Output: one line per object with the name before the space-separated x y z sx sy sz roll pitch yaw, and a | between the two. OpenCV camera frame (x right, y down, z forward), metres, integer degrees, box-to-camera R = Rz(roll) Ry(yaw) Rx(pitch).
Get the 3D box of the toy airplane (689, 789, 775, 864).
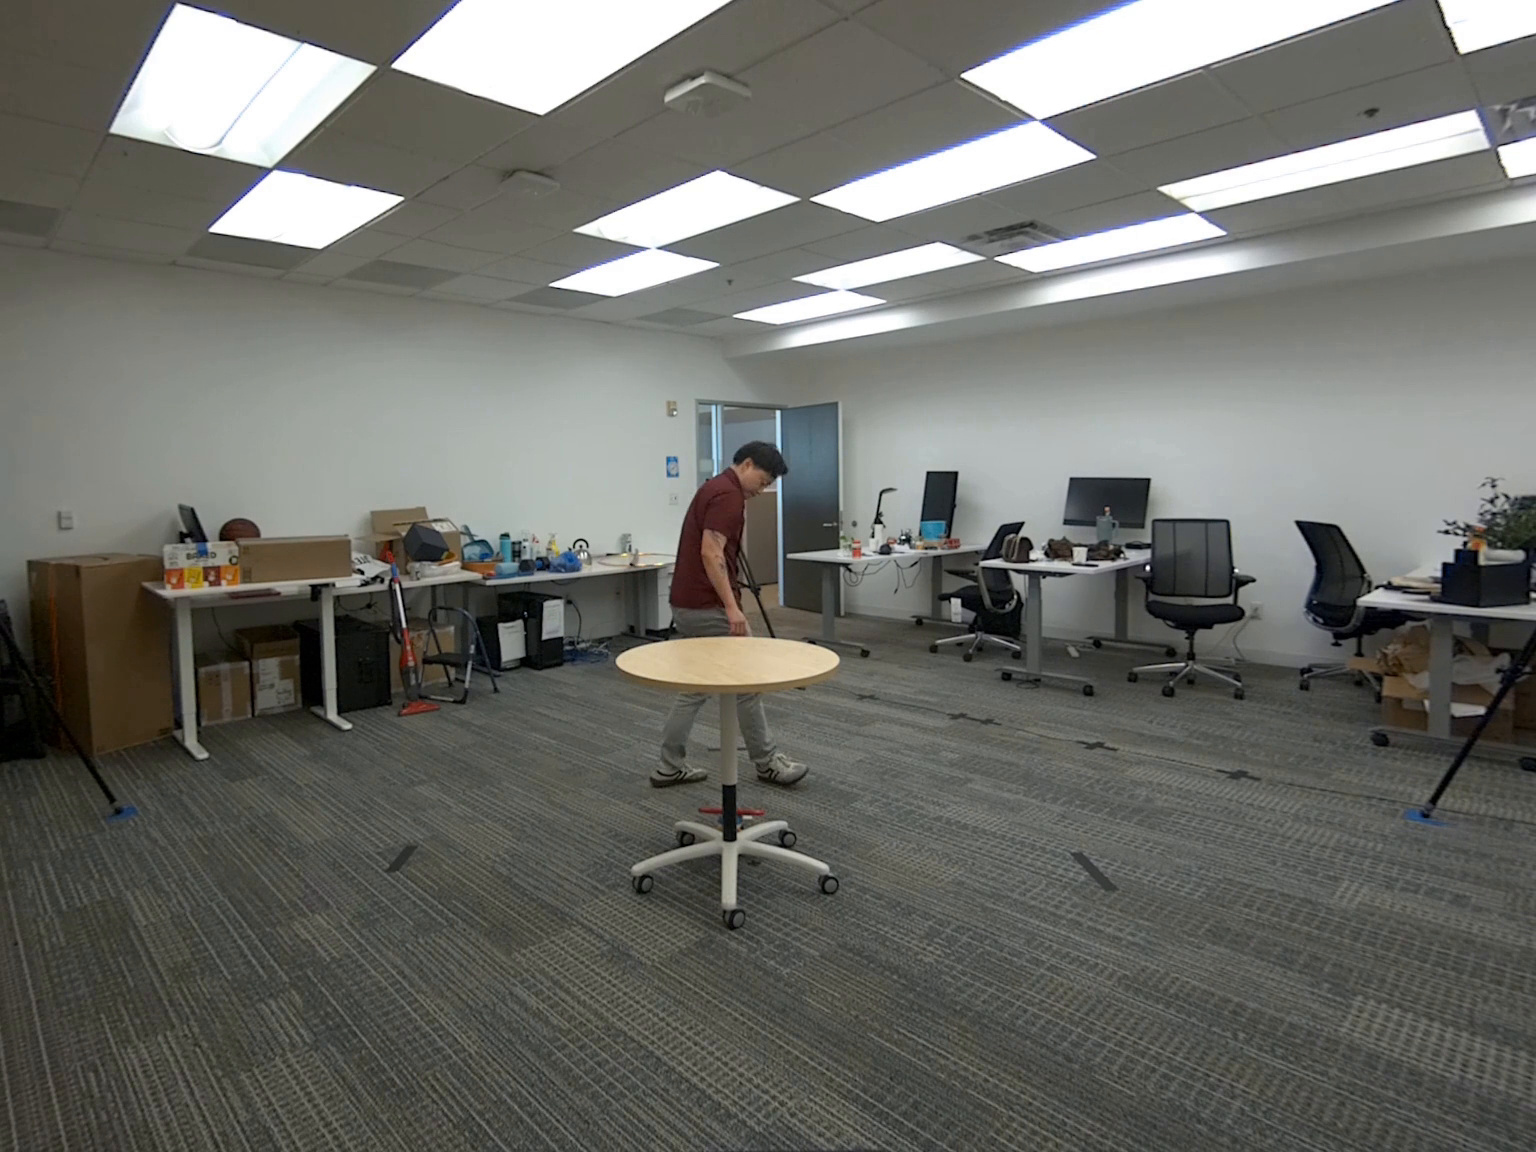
toy airplane | -0.144 0.951 3.284 0.247 0.156 0.265 -2 6 -20
